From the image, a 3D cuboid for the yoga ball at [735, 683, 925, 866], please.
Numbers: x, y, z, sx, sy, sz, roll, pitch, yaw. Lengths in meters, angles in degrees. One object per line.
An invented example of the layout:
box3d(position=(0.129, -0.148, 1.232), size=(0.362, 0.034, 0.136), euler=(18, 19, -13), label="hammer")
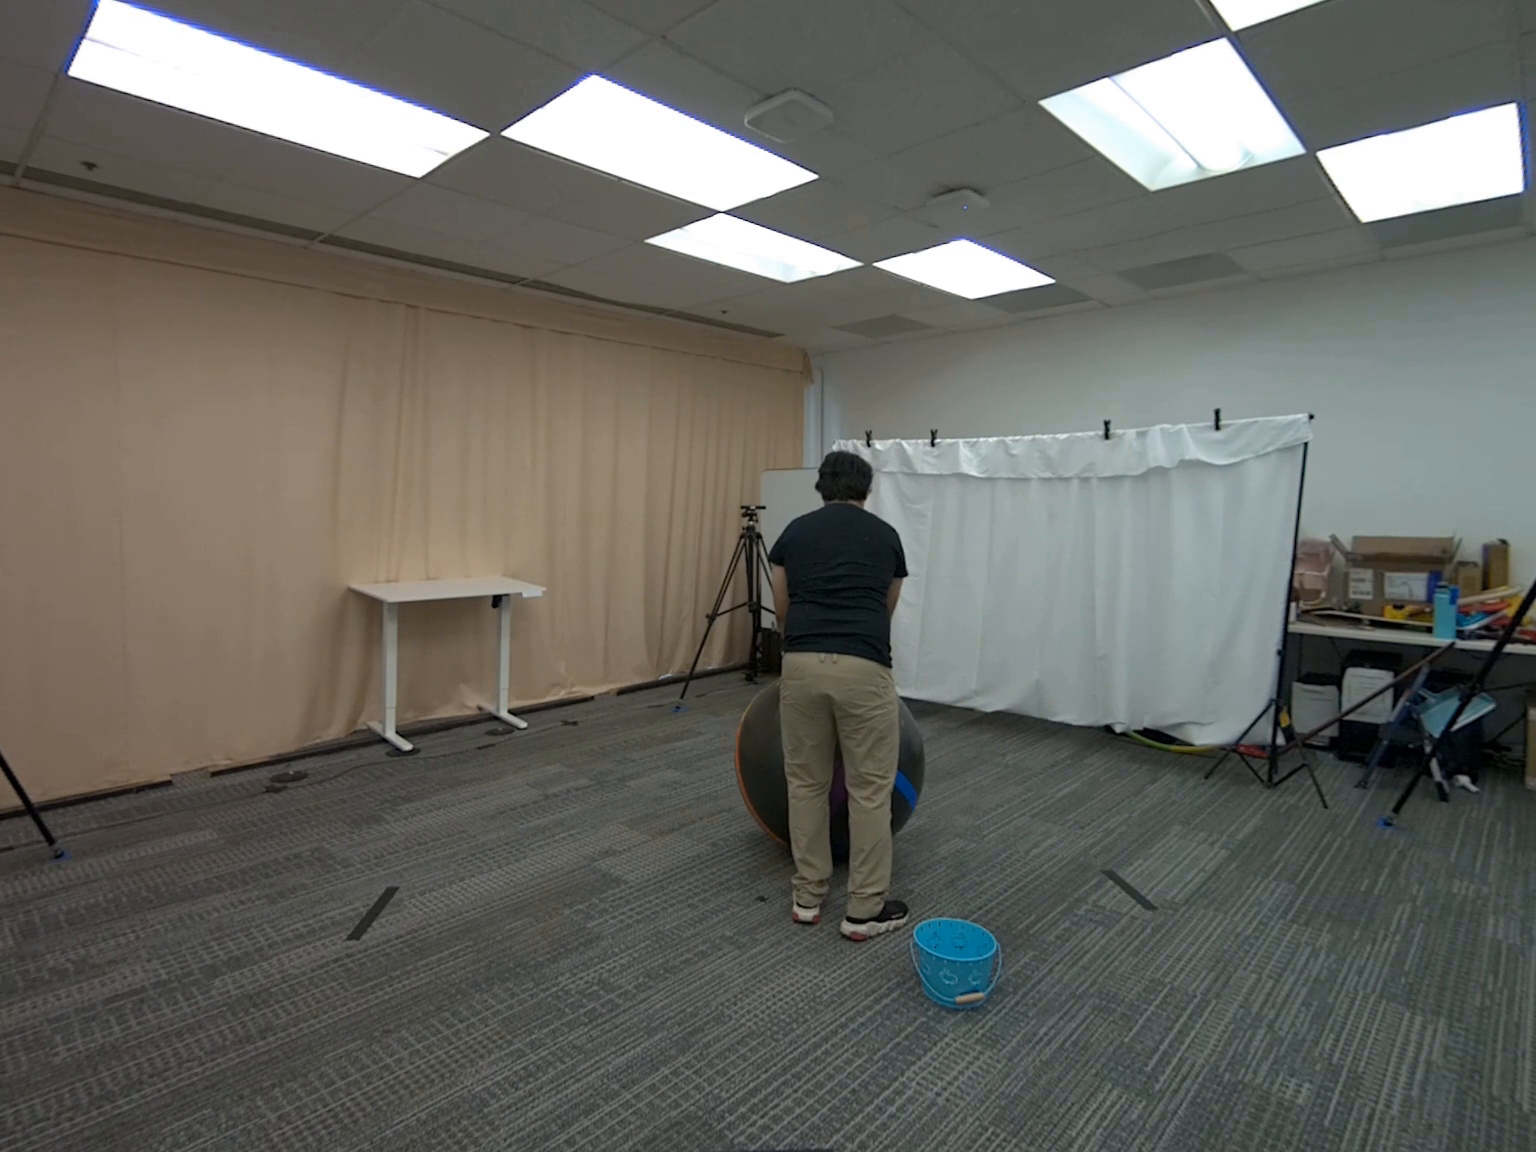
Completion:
box3d(position=(0.245, 0.744, 3.413), size=(0.757, 0.756, 0.760), euler=(0, 4, -2), label="yoga ball")
